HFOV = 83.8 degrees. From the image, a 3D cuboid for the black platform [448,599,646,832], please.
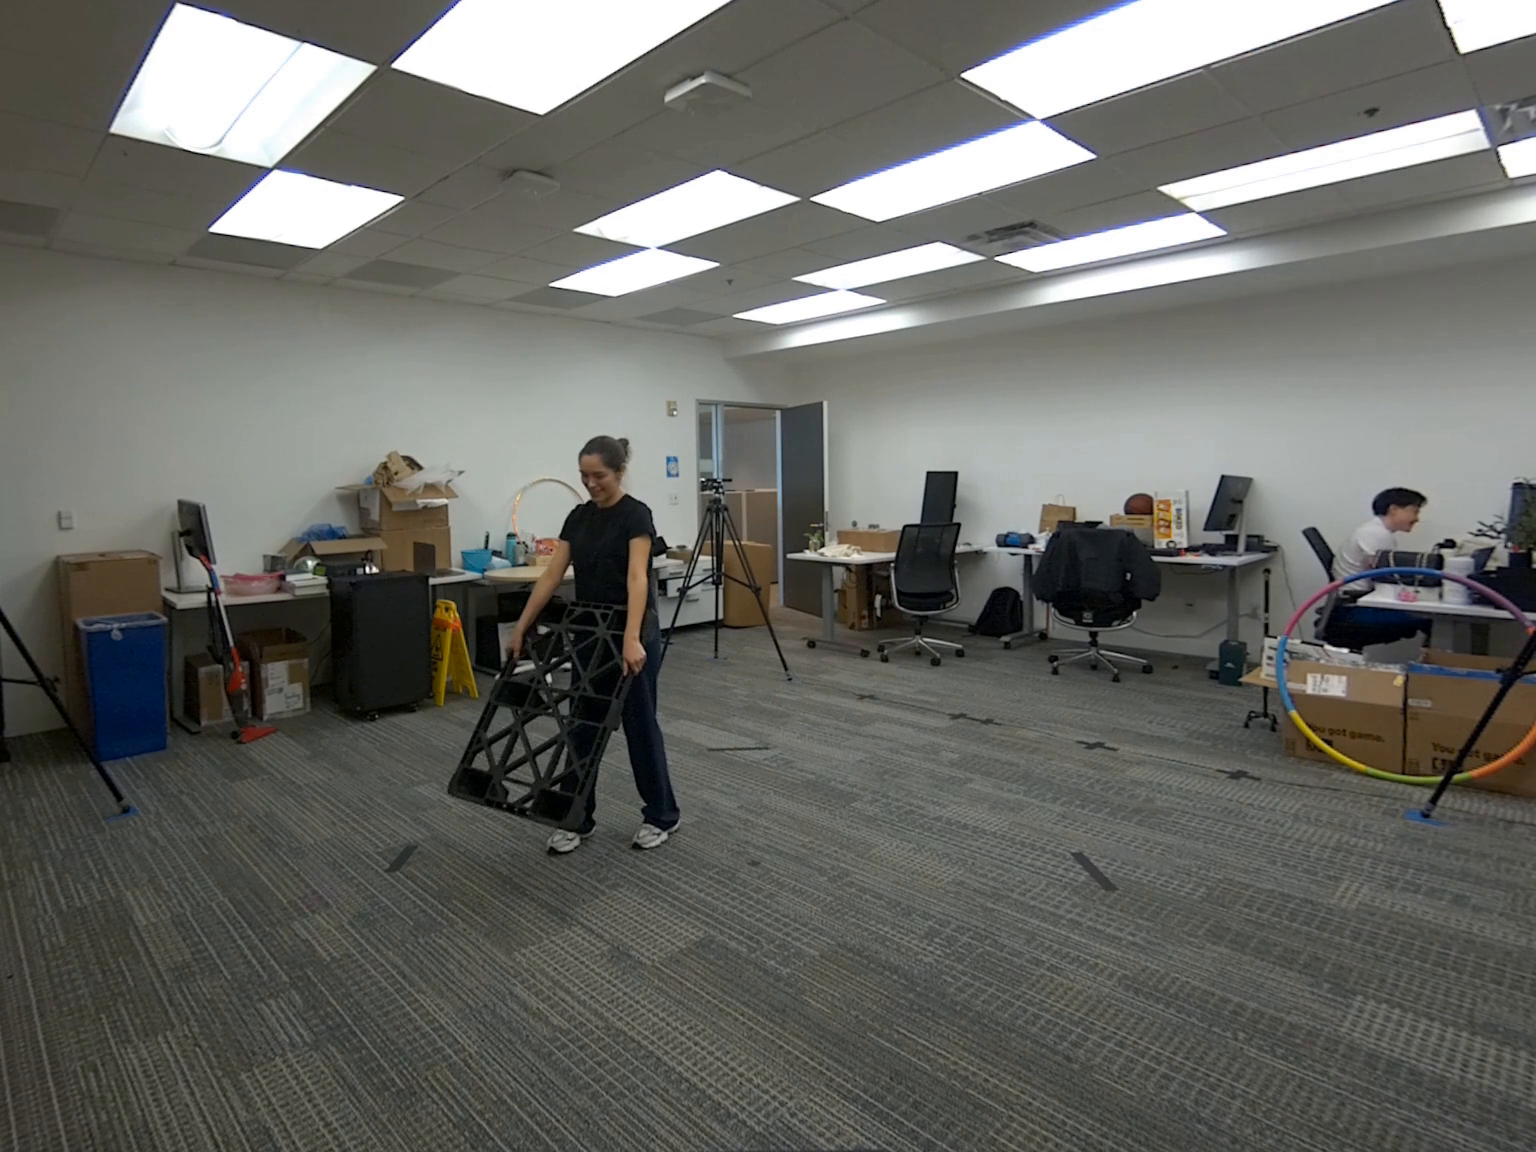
[{"bbox_3d":[-0.752,0.475,3.110,0.621,0.815,0.138,3,-29,31],"label":"black platform"}]
